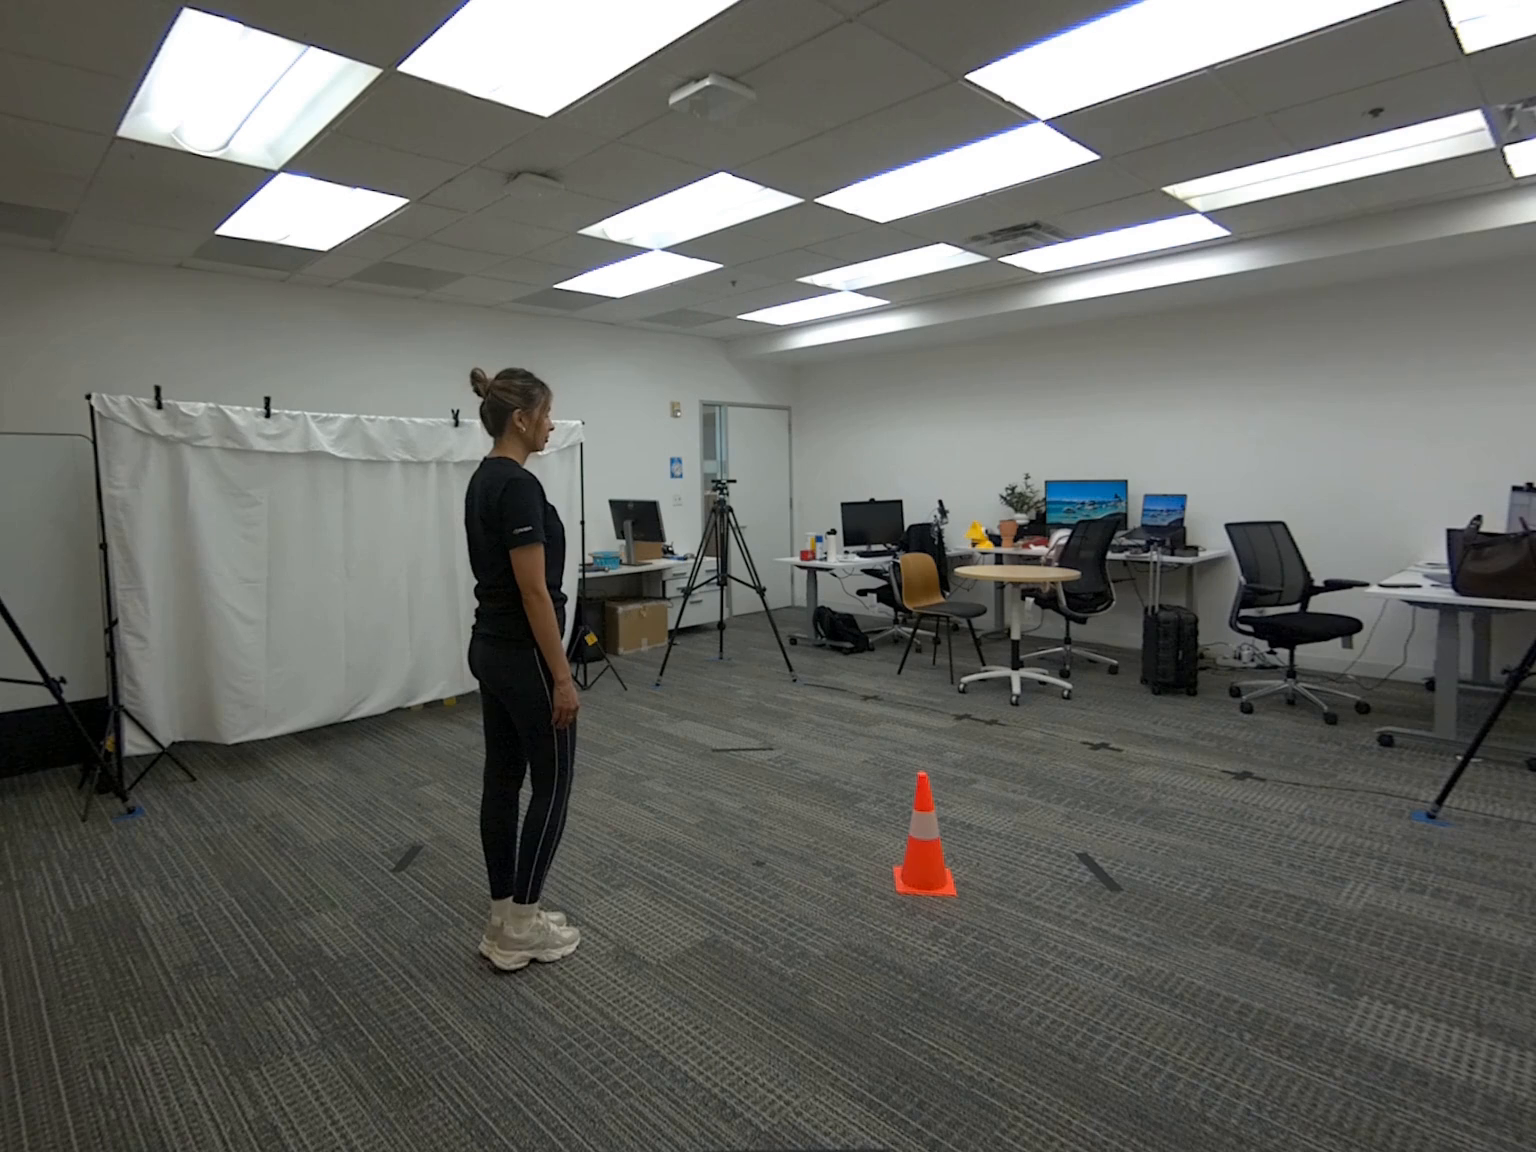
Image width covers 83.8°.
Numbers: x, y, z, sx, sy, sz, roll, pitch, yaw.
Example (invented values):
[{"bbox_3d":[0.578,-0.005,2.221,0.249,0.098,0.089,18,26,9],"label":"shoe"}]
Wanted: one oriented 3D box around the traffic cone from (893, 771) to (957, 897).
[{"bbox_3d":[0.540,0.871,2.936,0.205,0.382,0.204,-2,5,8],"label":"traffic cone"}]
